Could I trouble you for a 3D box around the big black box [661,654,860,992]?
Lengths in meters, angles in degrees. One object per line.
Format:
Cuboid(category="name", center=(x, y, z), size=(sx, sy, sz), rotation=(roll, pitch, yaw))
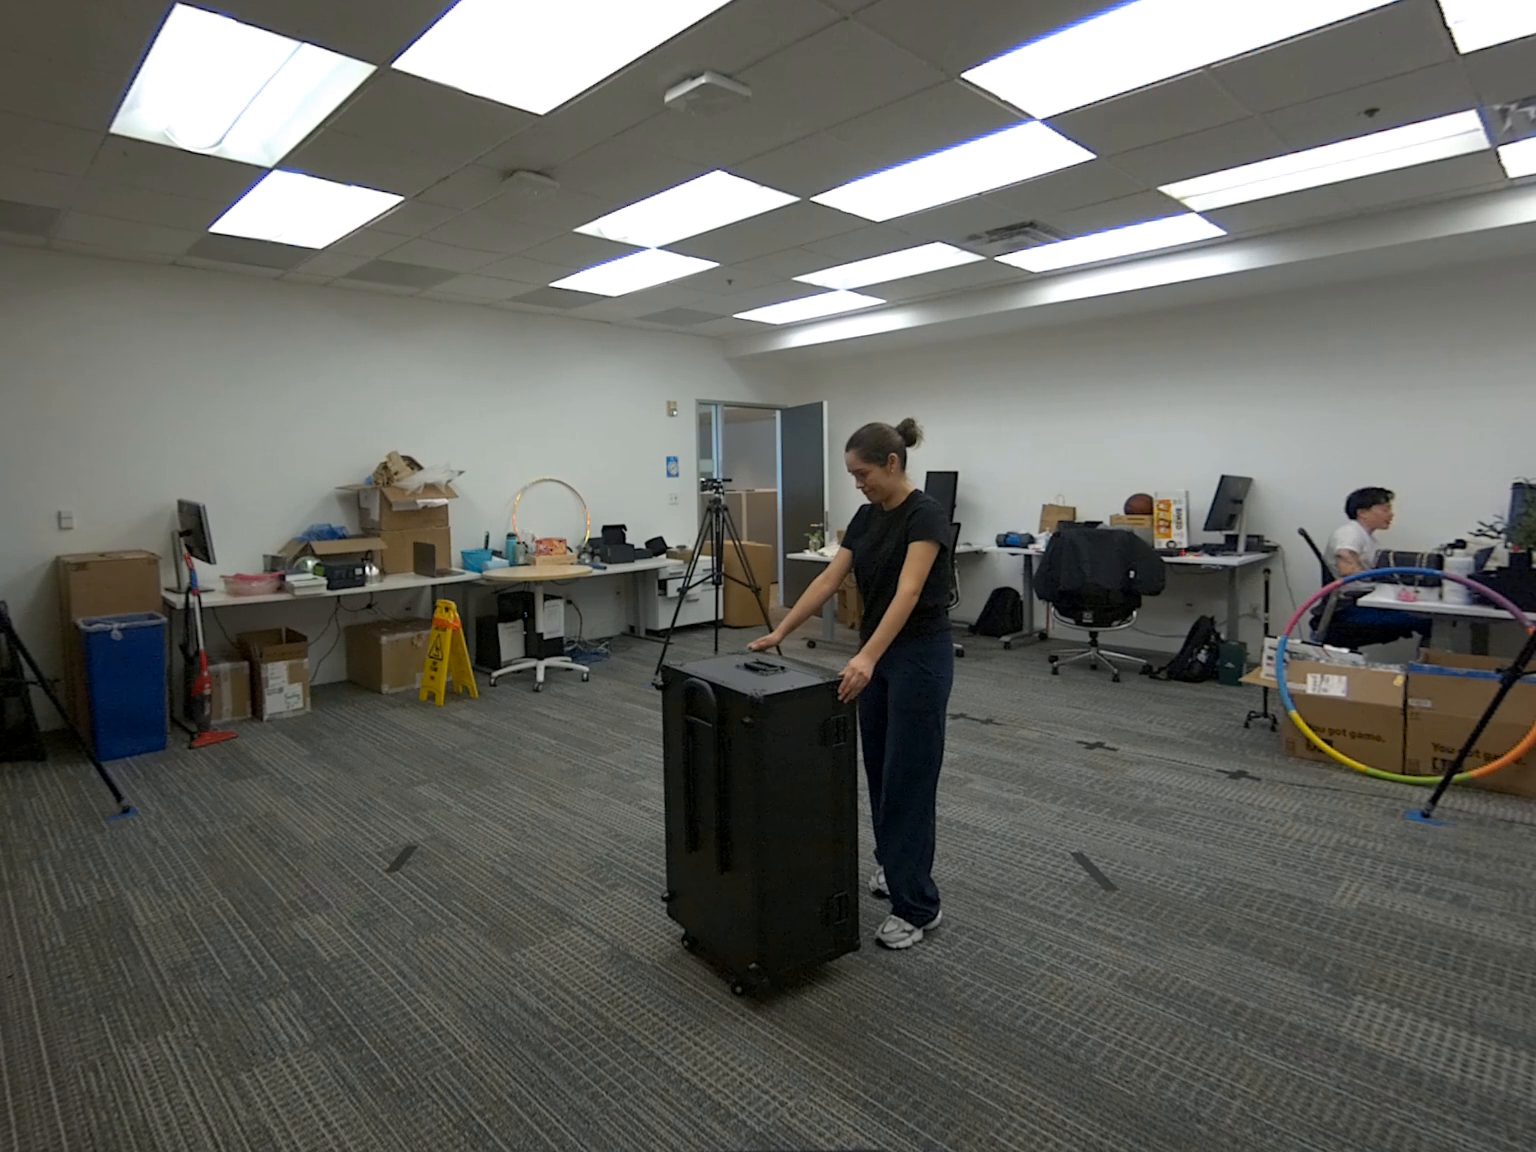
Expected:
Cuboid(category="big black box", center=(-0.031, 0.690, 2.485), size=(0.386, 0.858, 0.537), rotation=(-5, 6, -35))
